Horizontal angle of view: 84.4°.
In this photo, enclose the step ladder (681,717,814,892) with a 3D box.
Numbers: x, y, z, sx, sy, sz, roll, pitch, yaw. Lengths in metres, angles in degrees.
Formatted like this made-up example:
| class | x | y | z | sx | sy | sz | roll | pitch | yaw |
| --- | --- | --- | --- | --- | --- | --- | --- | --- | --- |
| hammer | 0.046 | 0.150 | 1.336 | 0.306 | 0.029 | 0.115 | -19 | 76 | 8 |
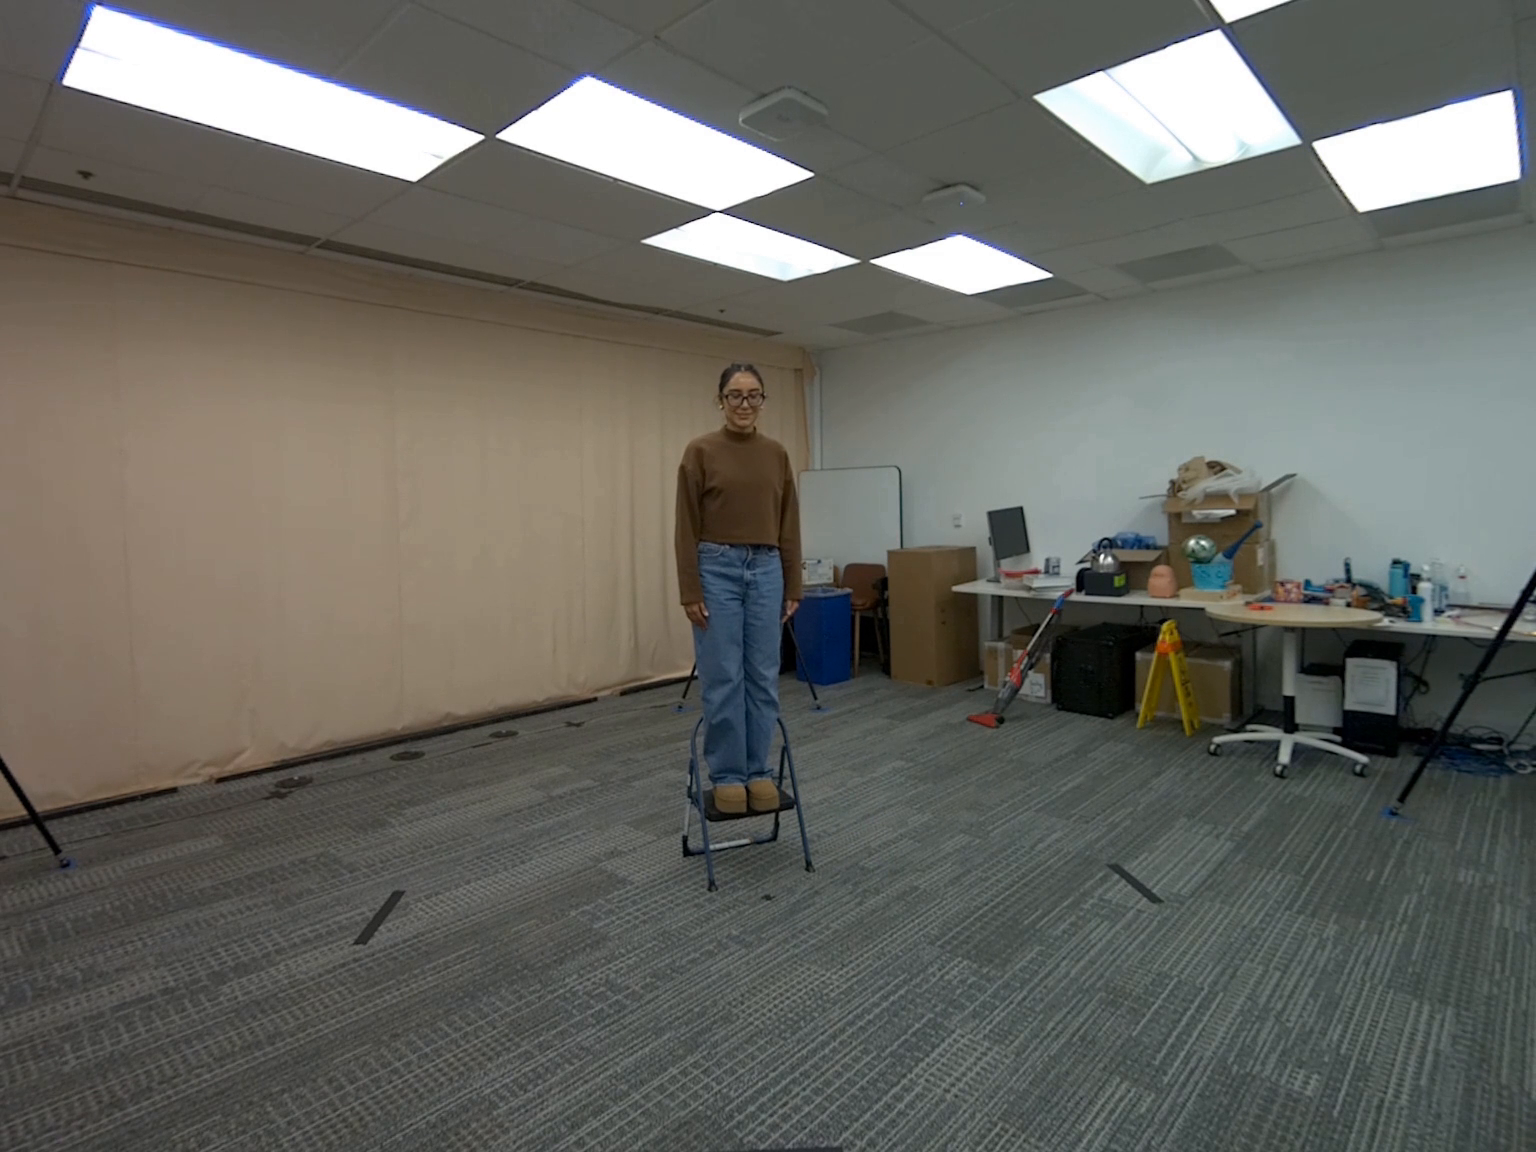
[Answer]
| class | x | y | z | sx | sy | sz | roll | pitch | yaw |
| --- | --- | --- | --- | --- | --- | --- | --- | --- | --- |
| step ladder | -0.089 | 0.819 | 3.263 | 0.421 | 0.605 | 0.358 | -3 | 3 | -23 |
